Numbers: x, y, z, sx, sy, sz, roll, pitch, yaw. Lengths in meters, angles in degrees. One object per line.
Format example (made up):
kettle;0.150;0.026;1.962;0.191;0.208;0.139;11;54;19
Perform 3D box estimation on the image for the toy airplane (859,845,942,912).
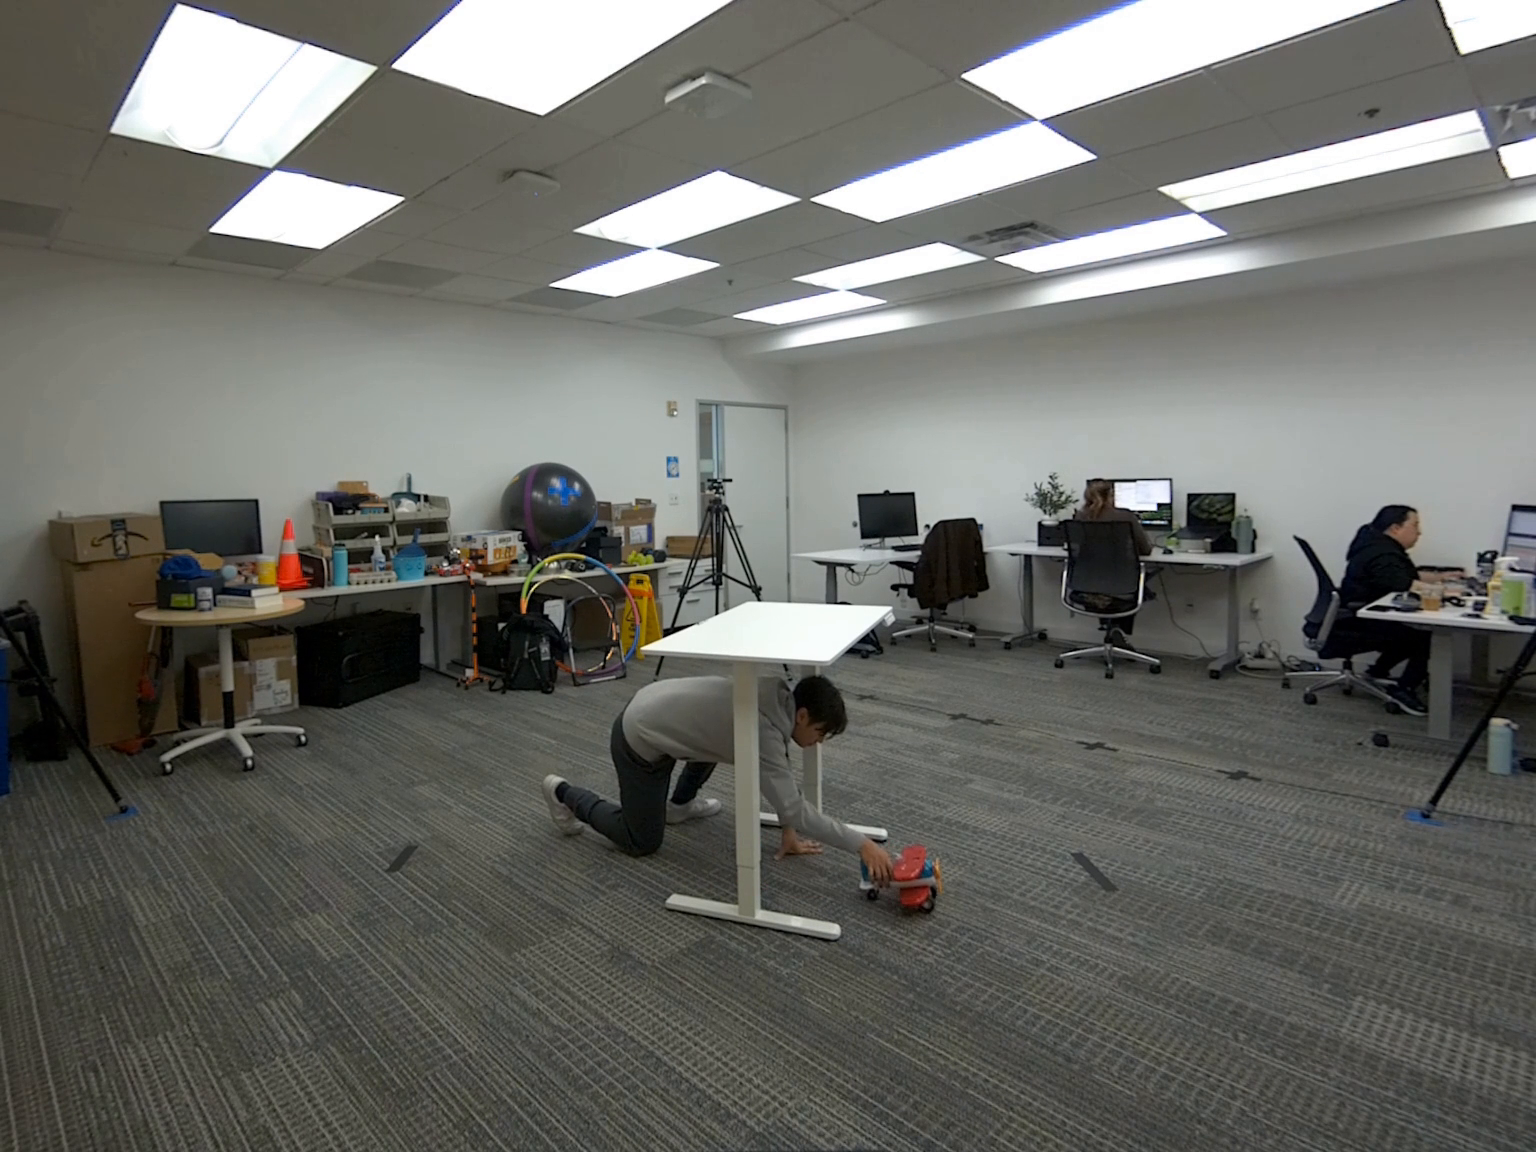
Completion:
toy airplane;0.440;1.000;2.787;0.256;0.156;0.255;-1;5;-11
